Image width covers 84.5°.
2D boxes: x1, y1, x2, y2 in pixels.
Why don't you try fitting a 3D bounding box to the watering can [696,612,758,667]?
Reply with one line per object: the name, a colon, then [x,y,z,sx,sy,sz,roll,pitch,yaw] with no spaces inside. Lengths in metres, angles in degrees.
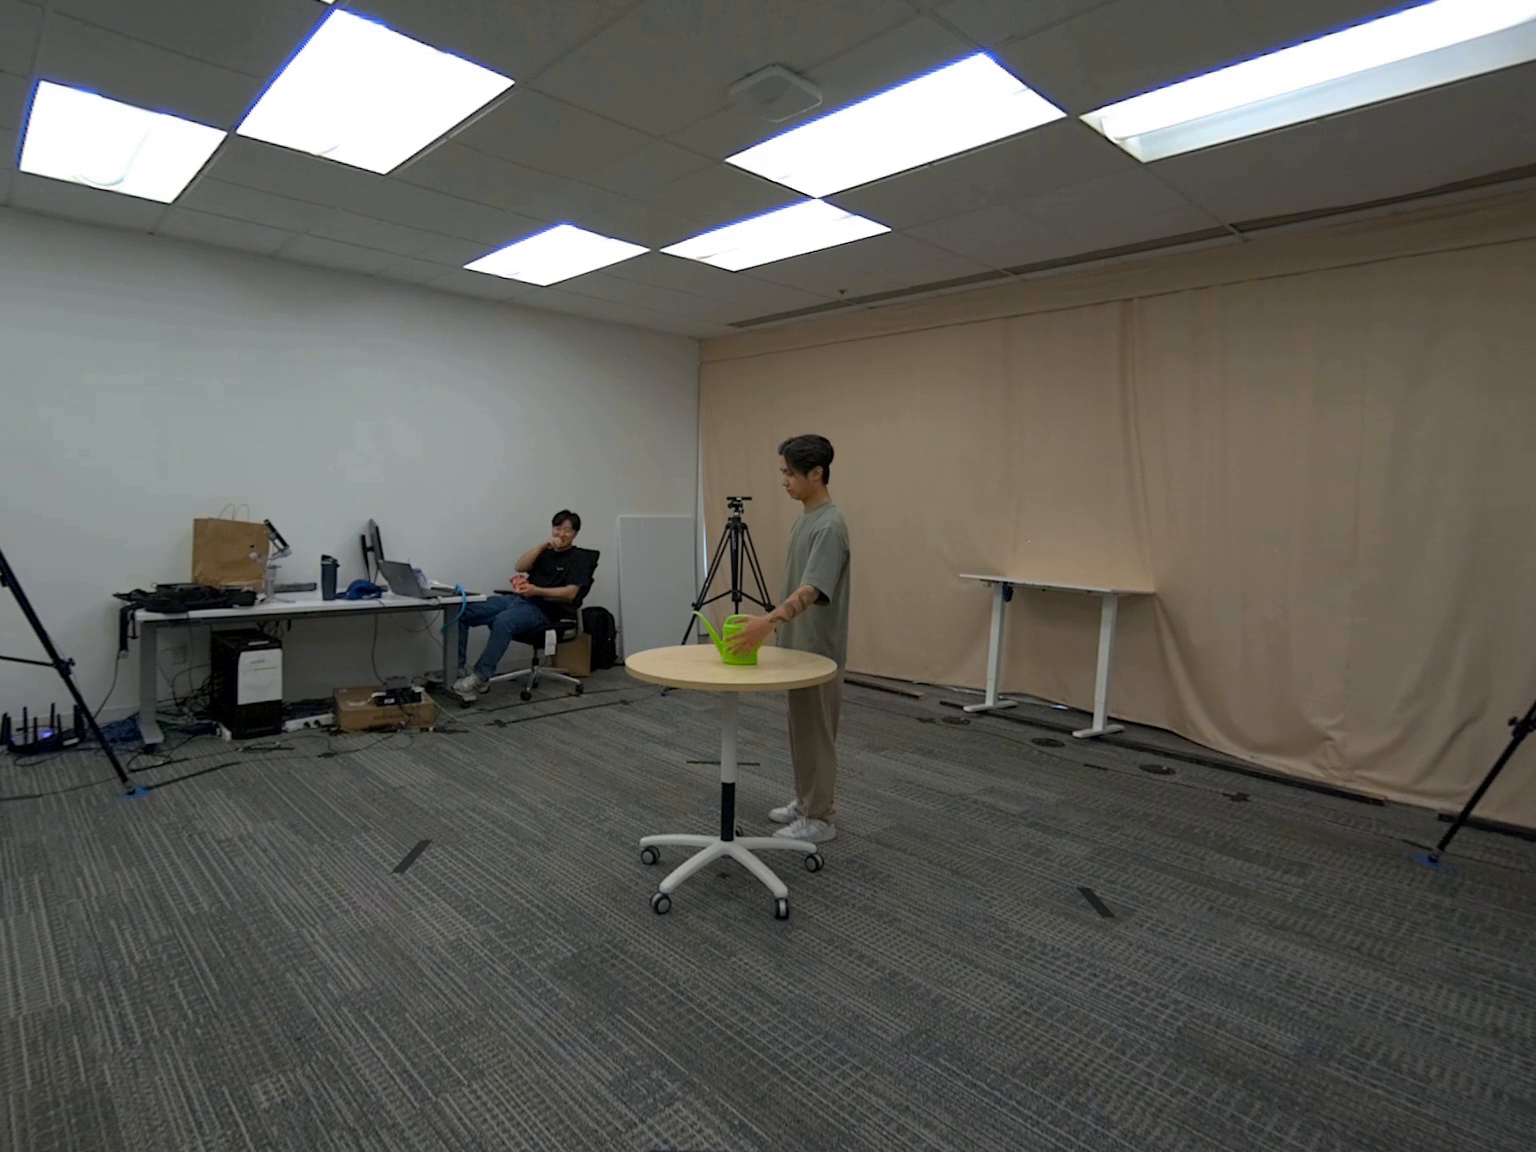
watering can: [-0.144,0.231,3.059,0.285,0.176,0.096,5,4,36]
